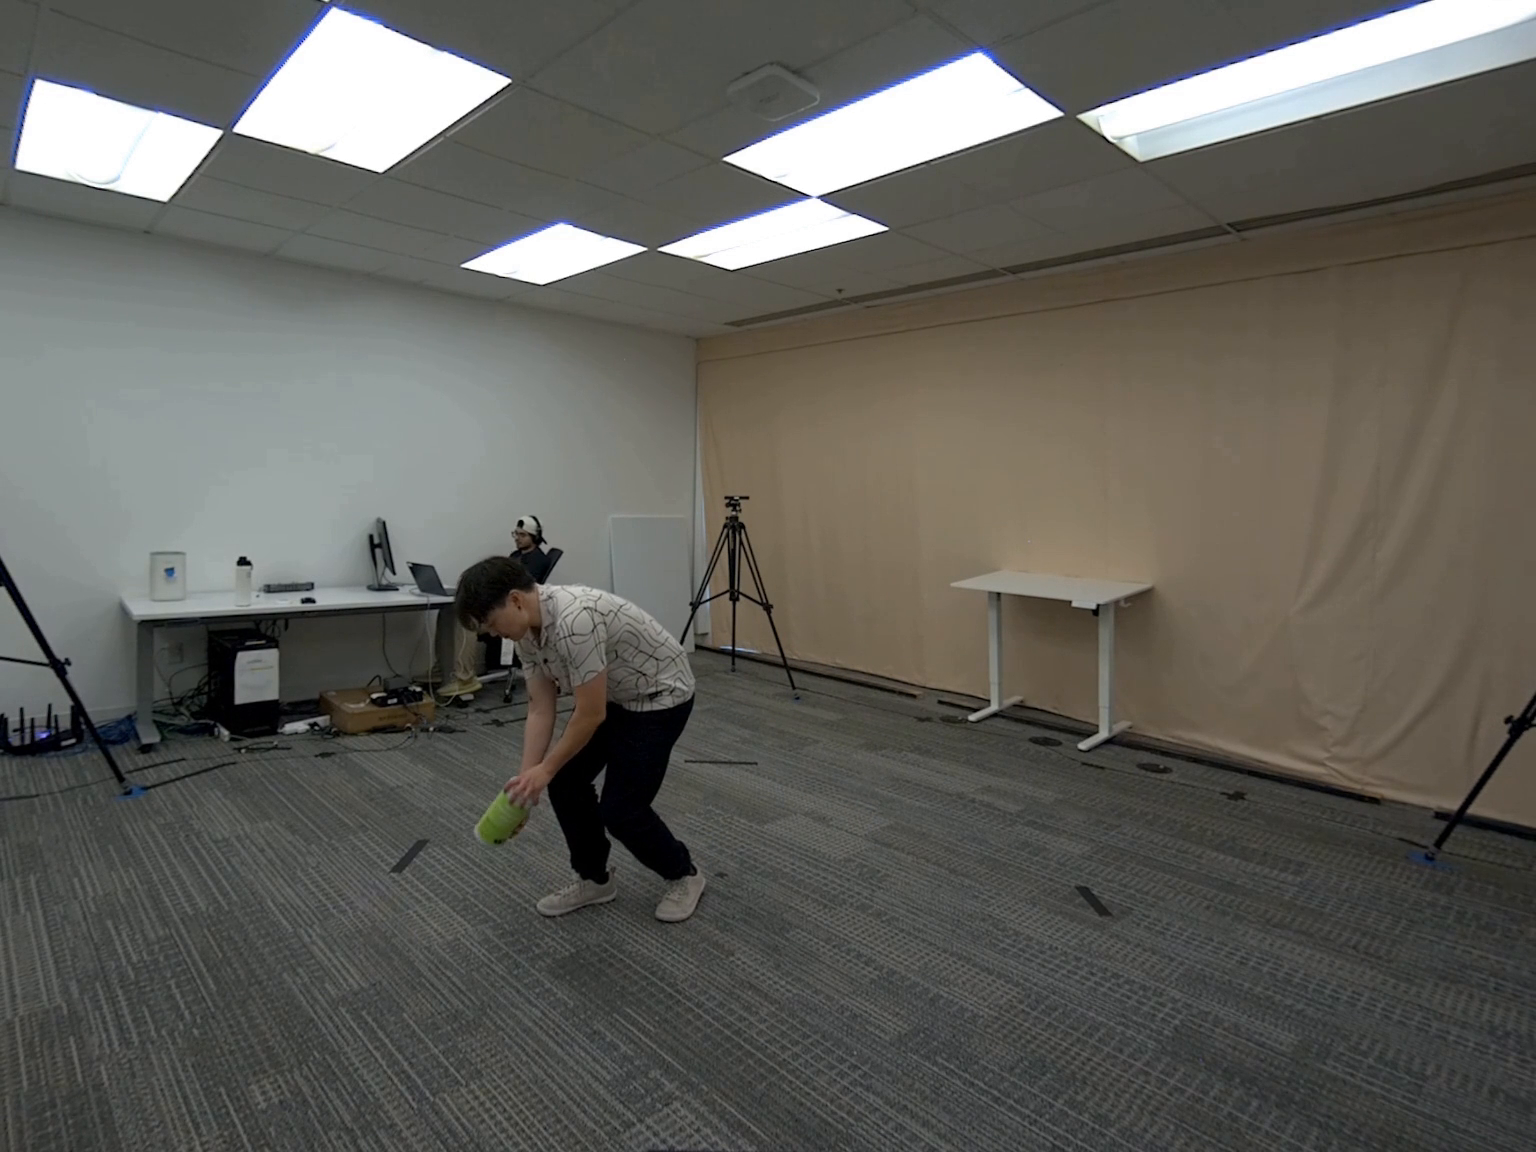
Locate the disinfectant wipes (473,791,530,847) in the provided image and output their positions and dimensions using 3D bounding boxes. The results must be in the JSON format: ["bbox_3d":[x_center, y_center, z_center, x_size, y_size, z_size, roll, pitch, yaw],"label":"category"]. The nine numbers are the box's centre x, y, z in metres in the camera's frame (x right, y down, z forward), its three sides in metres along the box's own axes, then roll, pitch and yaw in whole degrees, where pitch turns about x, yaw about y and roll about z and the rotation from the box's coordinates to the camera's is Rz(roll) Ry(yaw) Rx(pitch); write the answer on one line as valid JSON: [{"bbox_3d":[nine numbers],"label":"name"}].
[{"bbox_3d":[-0.823,0.743,2.630,0.116,0.217,0.119,31,14,-10],"label":"disinfectant wipes"}]
